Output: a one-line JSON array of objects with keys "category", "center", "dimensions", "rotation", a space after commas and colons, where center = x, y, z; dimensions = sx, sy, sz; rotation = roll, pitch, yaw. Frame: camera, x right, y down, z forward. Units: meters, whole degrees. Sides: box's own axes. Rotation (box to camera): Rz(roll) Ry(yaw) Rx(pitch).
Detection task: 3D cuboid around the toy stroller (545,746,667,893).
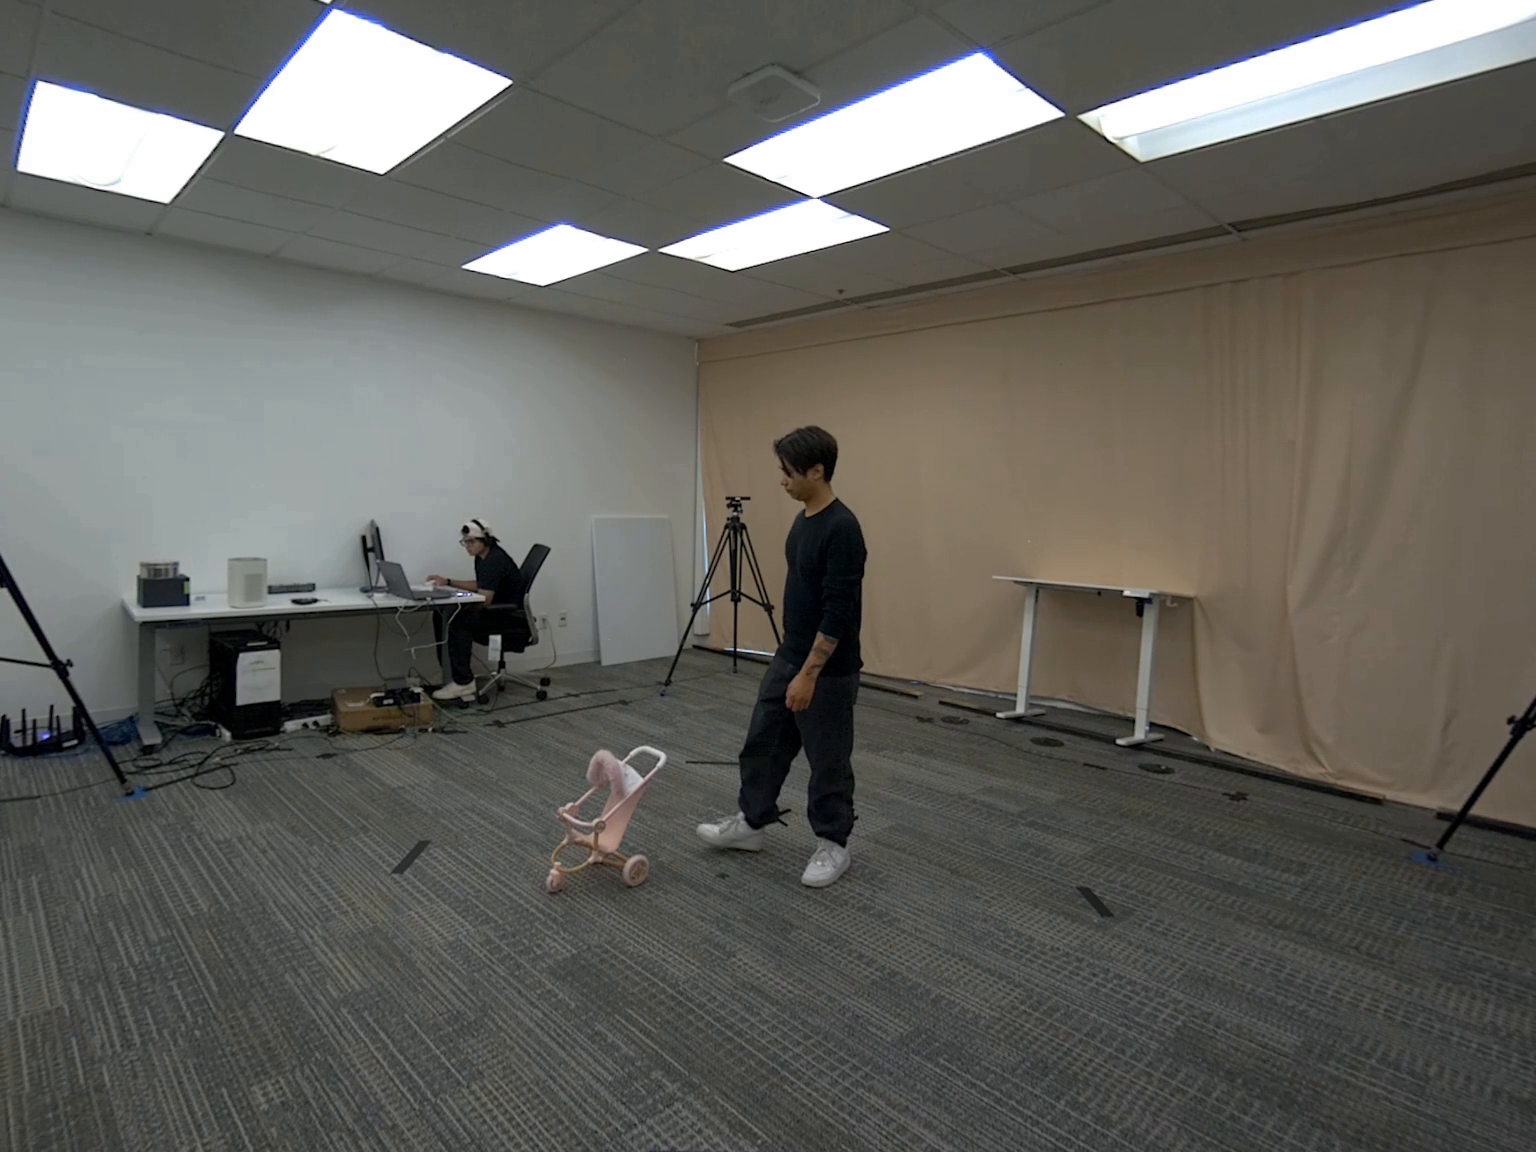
[{"category": "toy stroller", "center": [-0.609, 0.878, 3.055], "dimensions": [0.332, 0.537, 0.288], "rotation": [17, -7, -36]}]
